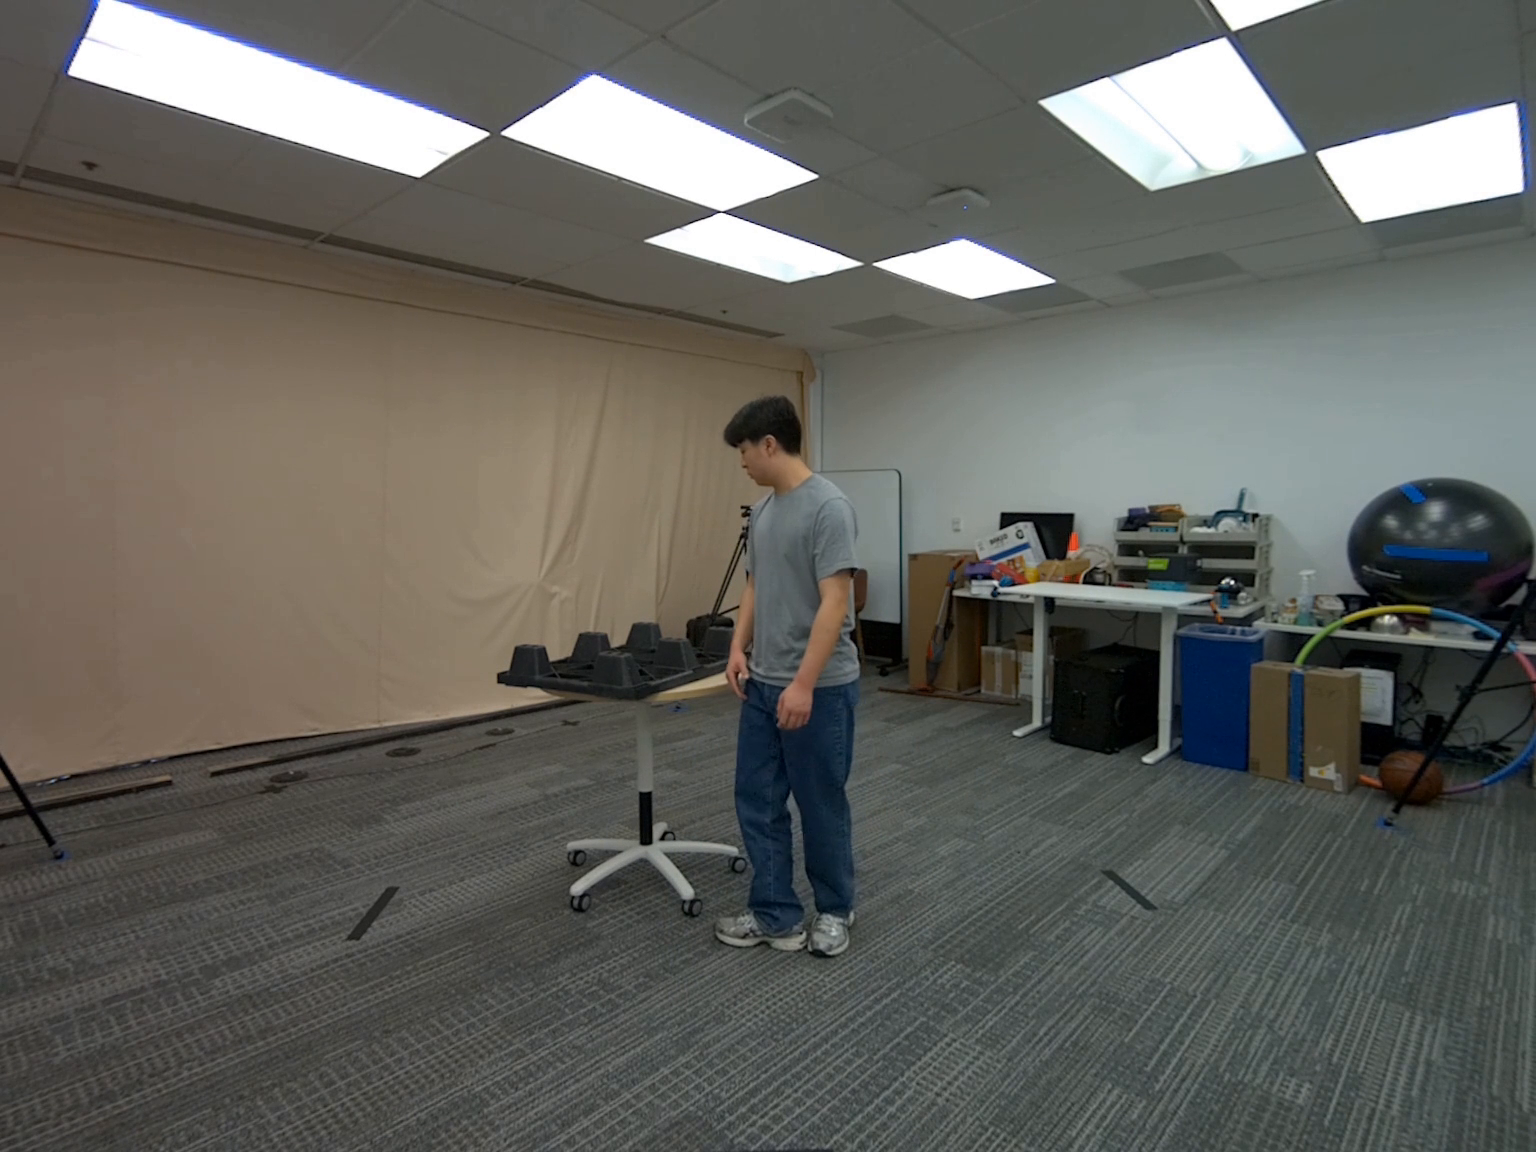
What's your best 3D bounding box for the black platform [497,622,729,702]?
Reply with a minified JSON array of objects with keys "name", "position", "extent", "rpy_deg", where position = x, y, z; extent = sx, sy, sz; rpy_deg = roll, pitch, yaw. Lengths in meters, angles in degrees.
[{"name":"black platform","position":[-0.498,0.293,3.092],"extent":[0.622,0.143,0.785],"rpy_deg":[1,4,29]}]
